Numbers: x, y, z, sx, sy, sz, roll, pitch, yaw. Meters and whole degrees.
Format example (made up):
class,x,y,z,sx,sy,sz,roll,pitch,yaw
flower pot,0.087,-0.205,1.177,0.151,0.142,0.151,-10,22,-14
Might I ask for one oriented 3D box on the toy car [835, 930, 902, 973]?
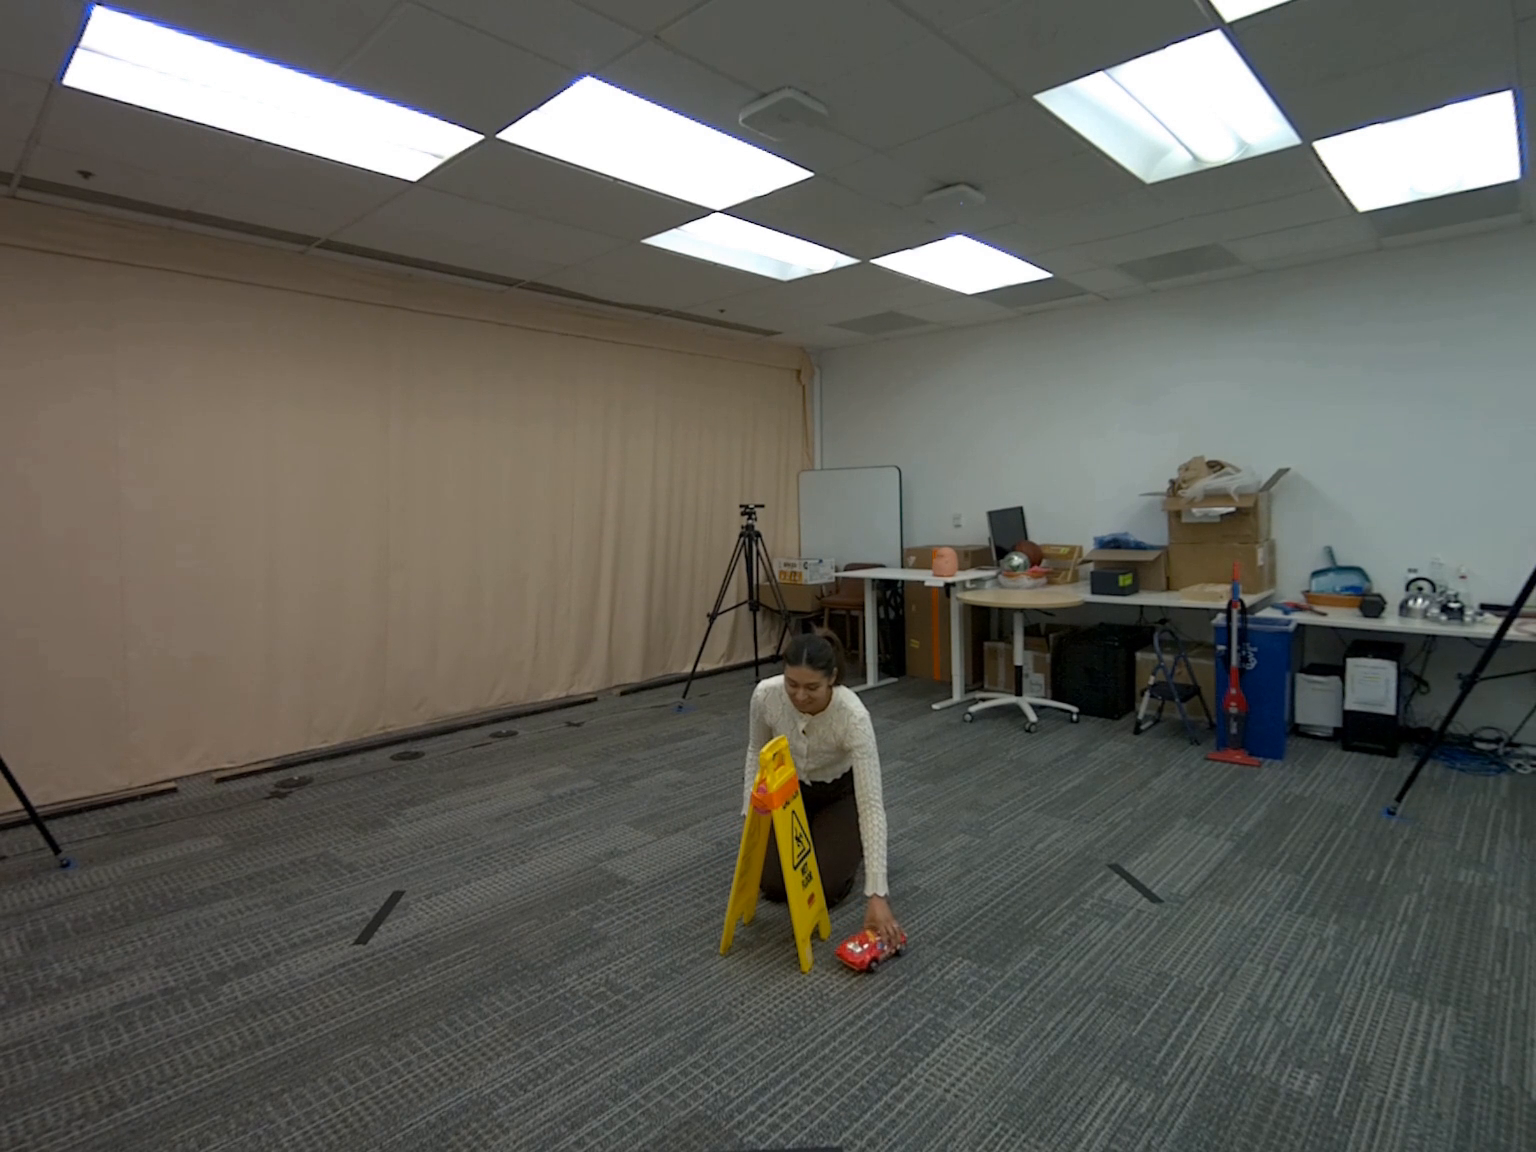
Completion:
class,x,y,z,sx,sy,sz,roll,pitch,yaw
toy car,0.302,1.130,2.558,0.246,0.083,0.135,11,0,-42
